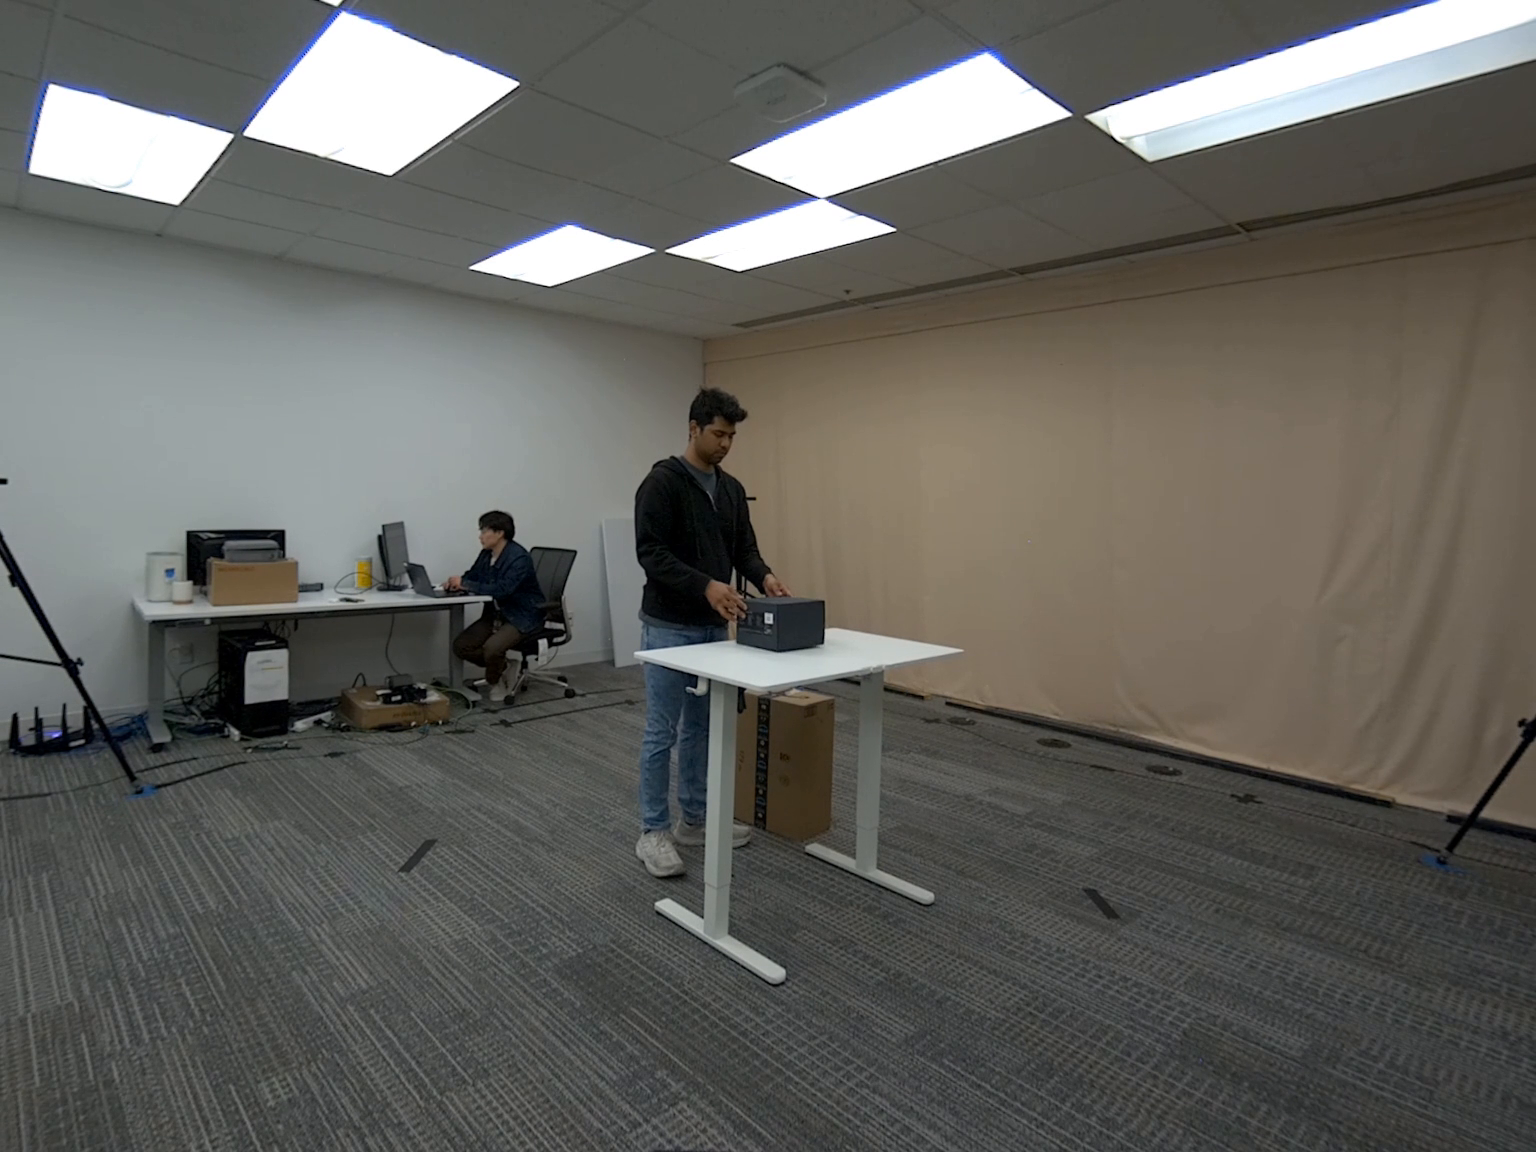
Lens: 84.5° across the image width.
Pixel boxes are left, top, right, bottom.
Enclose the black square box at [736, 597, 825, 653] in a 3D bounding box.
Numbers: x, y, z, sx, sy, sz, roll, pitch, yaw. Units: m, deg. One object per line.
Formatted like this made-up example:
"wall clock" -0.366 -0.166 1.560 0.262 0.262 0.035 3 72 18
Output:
"black square box" 0.045 0.158 2.936 0.222 0.156 0.222 -2 3 -42
